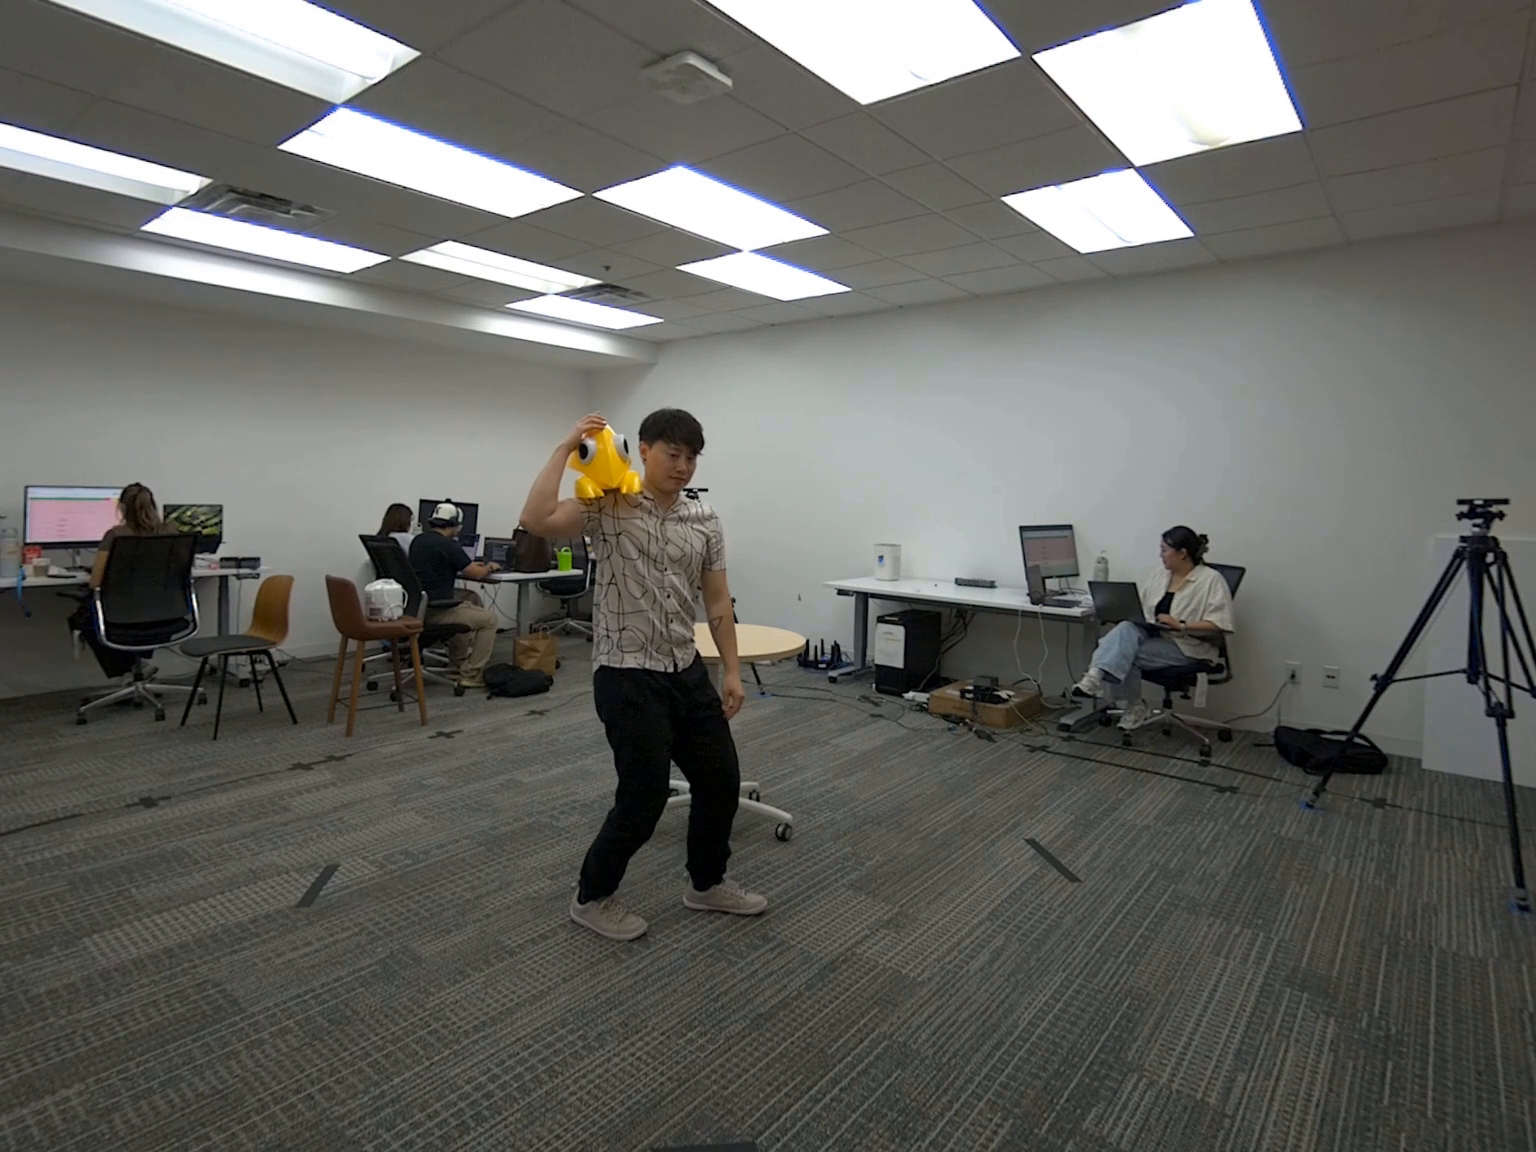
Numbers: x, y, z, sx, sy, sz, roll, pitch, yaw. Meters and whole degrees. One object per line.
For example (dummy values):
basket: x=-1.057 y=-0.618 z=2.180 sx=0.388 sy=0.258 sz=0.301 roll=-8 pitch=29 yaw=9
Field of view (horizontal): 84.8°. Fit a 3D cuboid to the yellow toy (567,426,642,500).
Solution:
yellow toy: x=-0.495 y=-0.368 z=2.531 sx=0.201 sy=0.228 sz=0.199 roll=-7 pitch=14 yaw=-19
